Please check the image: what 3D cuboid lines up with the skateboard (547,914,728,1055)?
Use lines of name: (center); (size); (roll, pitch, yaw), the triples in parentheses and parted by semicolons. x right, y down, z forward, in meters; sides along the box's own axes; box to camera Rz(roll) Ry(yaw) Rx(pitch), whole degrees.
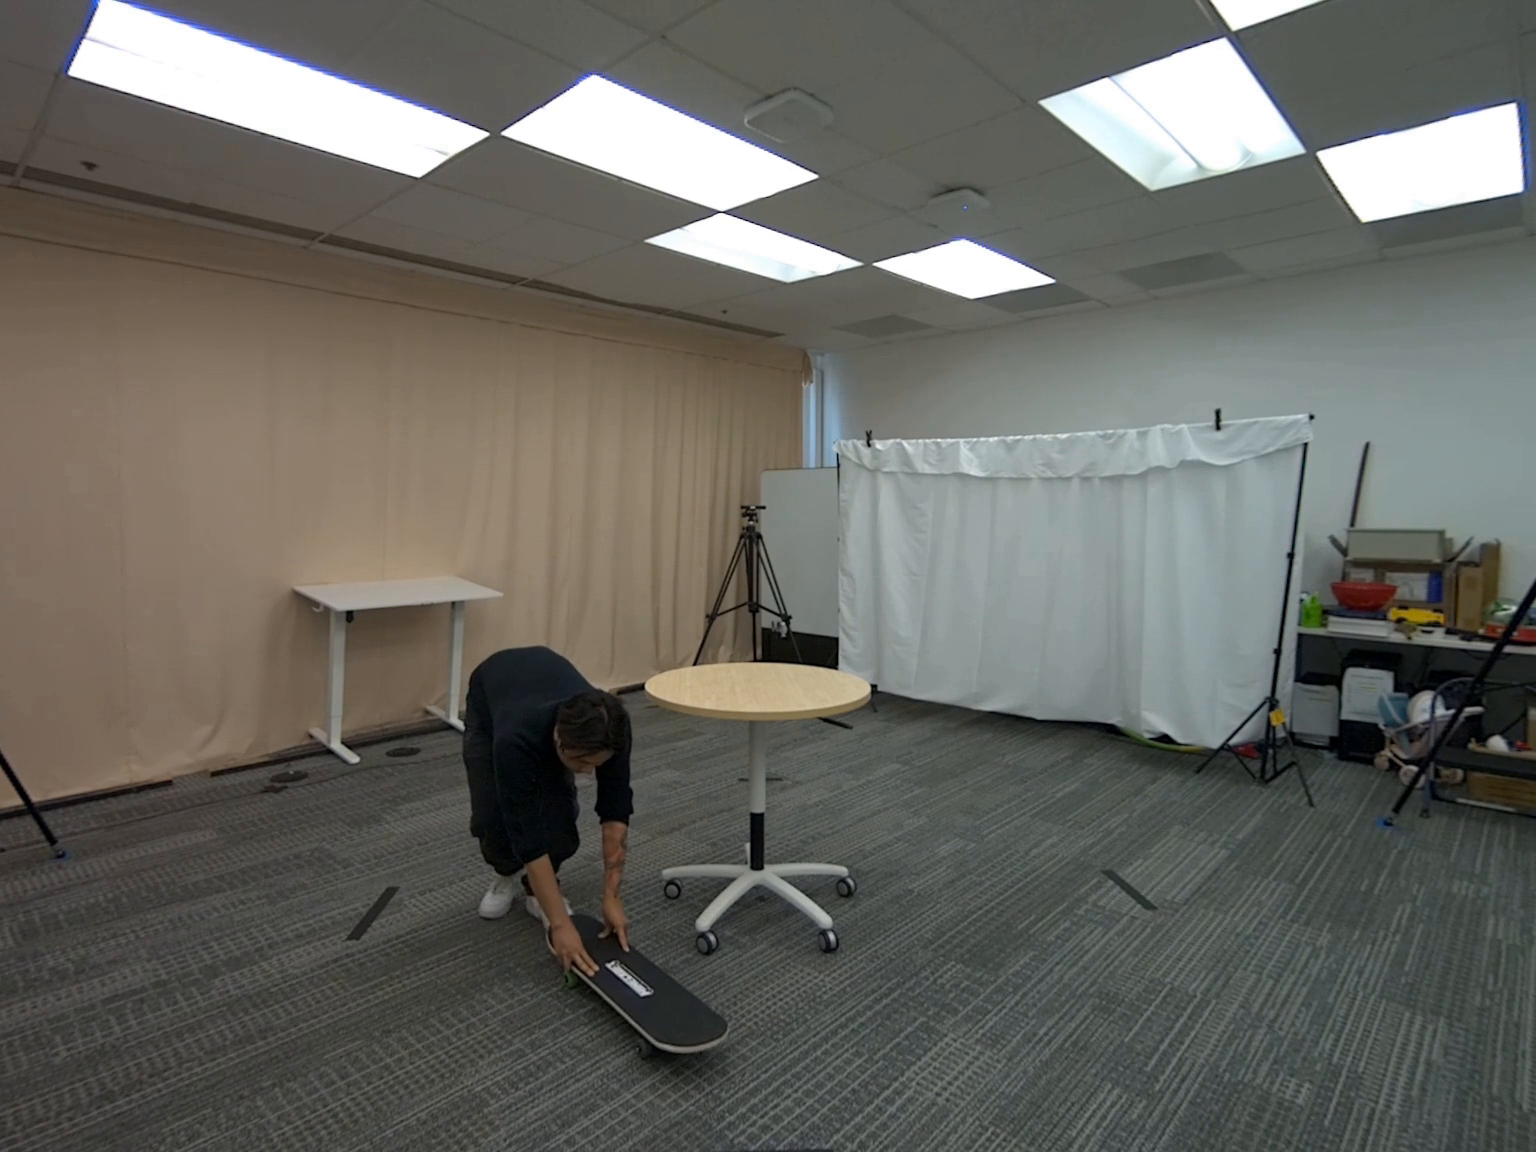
skateboard: (-0.384, 1.148, 2.330); (0.188, 0.110, 0.811); (-4, 5, -40)
